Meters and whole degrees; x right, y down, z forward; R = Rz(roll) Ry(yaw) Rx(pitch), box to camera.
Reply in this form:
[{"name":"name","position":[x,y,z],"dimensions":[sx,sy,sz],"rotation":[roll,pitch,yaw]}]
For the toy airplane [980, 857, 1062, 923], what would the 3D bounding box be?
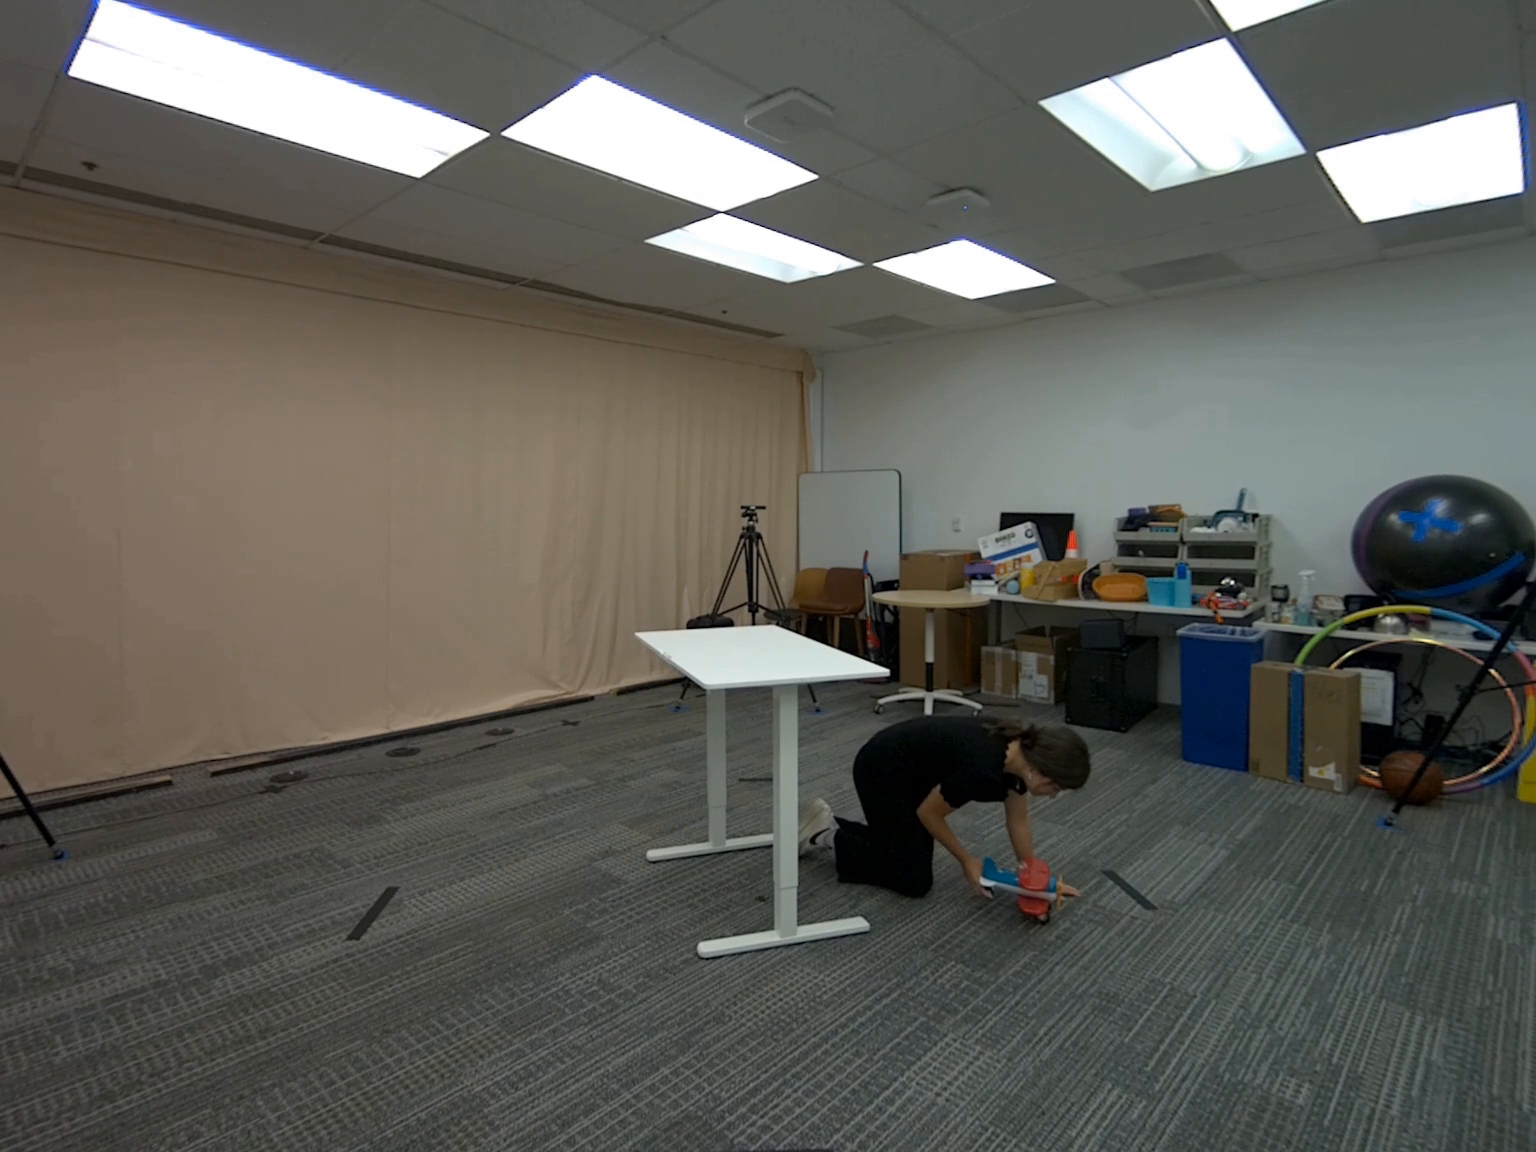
[{"name":"toy airplane","position":[0.867,1.062,2.845],"dimensions":[0.257,0.156,0.254],"rotation":[13,8,-9]}]
